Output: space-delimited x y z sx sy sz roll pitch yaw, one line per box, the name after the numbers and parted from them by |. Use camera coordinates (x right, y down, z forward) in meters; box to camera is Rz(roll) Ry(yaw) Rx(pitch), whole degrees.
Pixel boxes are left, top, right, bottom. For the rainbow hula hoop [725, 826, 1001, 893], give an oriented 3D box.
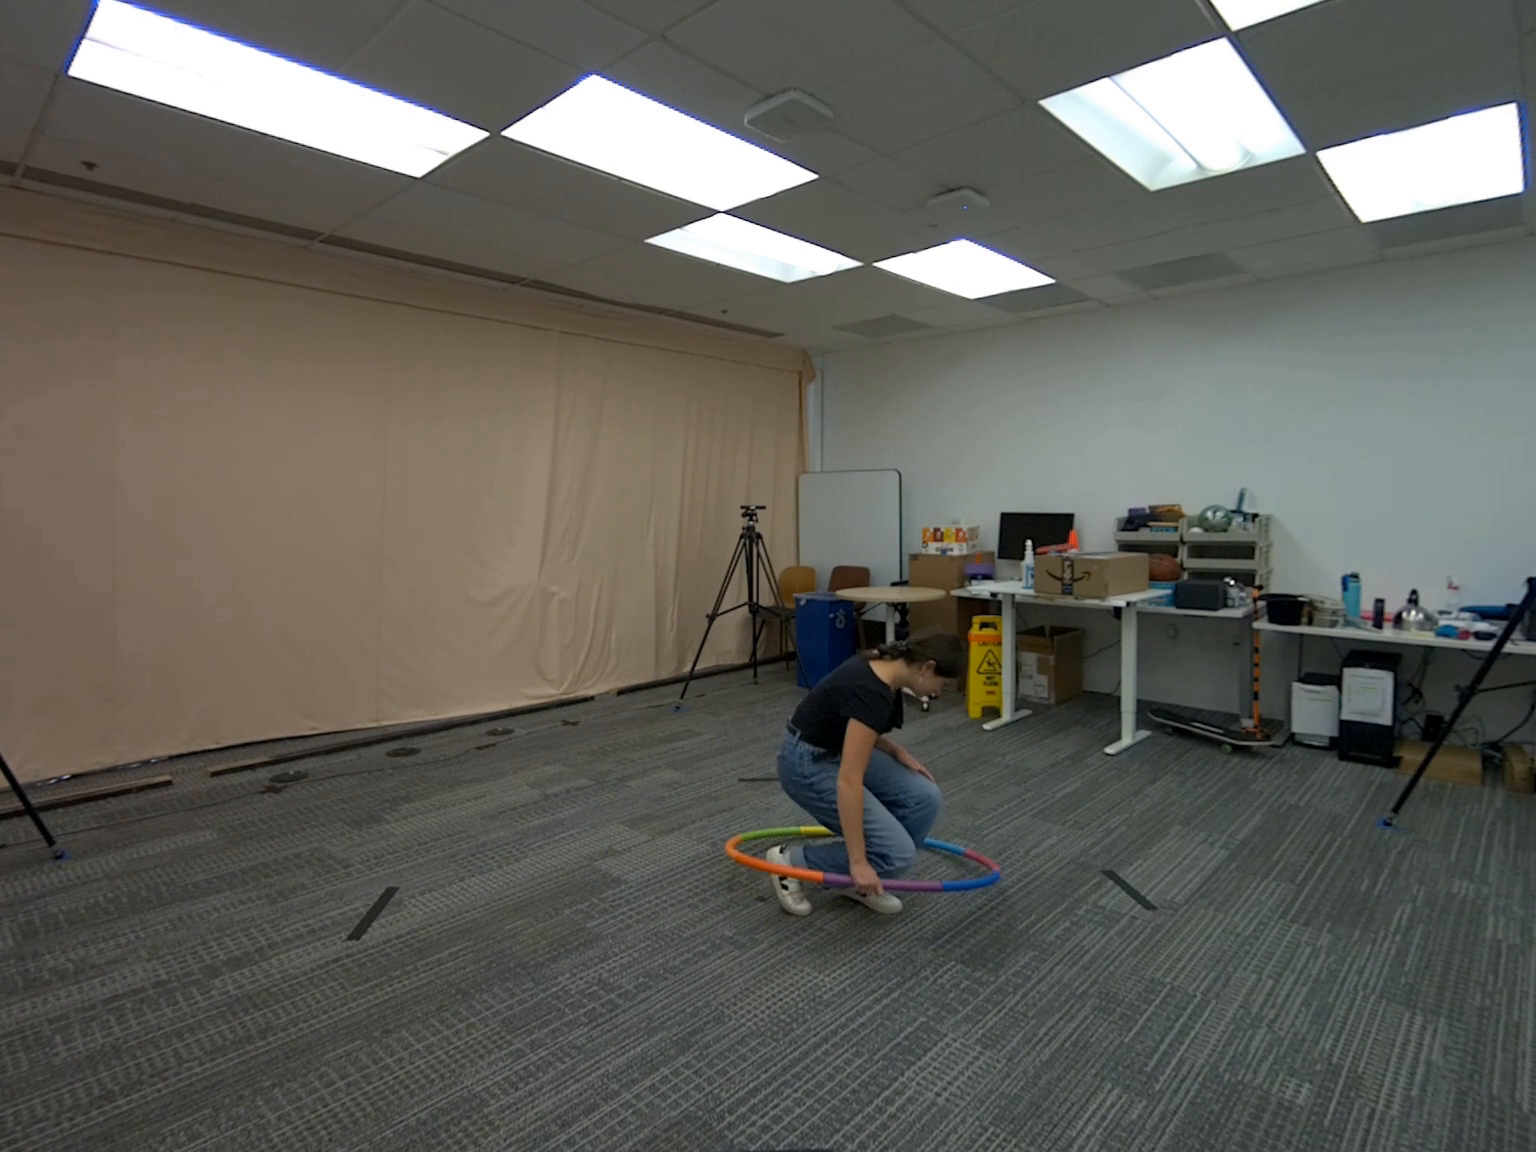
0.336 1.013 3.083 0.978 0.036 0.975 3 -7 -1 | rainbow hula hoop
